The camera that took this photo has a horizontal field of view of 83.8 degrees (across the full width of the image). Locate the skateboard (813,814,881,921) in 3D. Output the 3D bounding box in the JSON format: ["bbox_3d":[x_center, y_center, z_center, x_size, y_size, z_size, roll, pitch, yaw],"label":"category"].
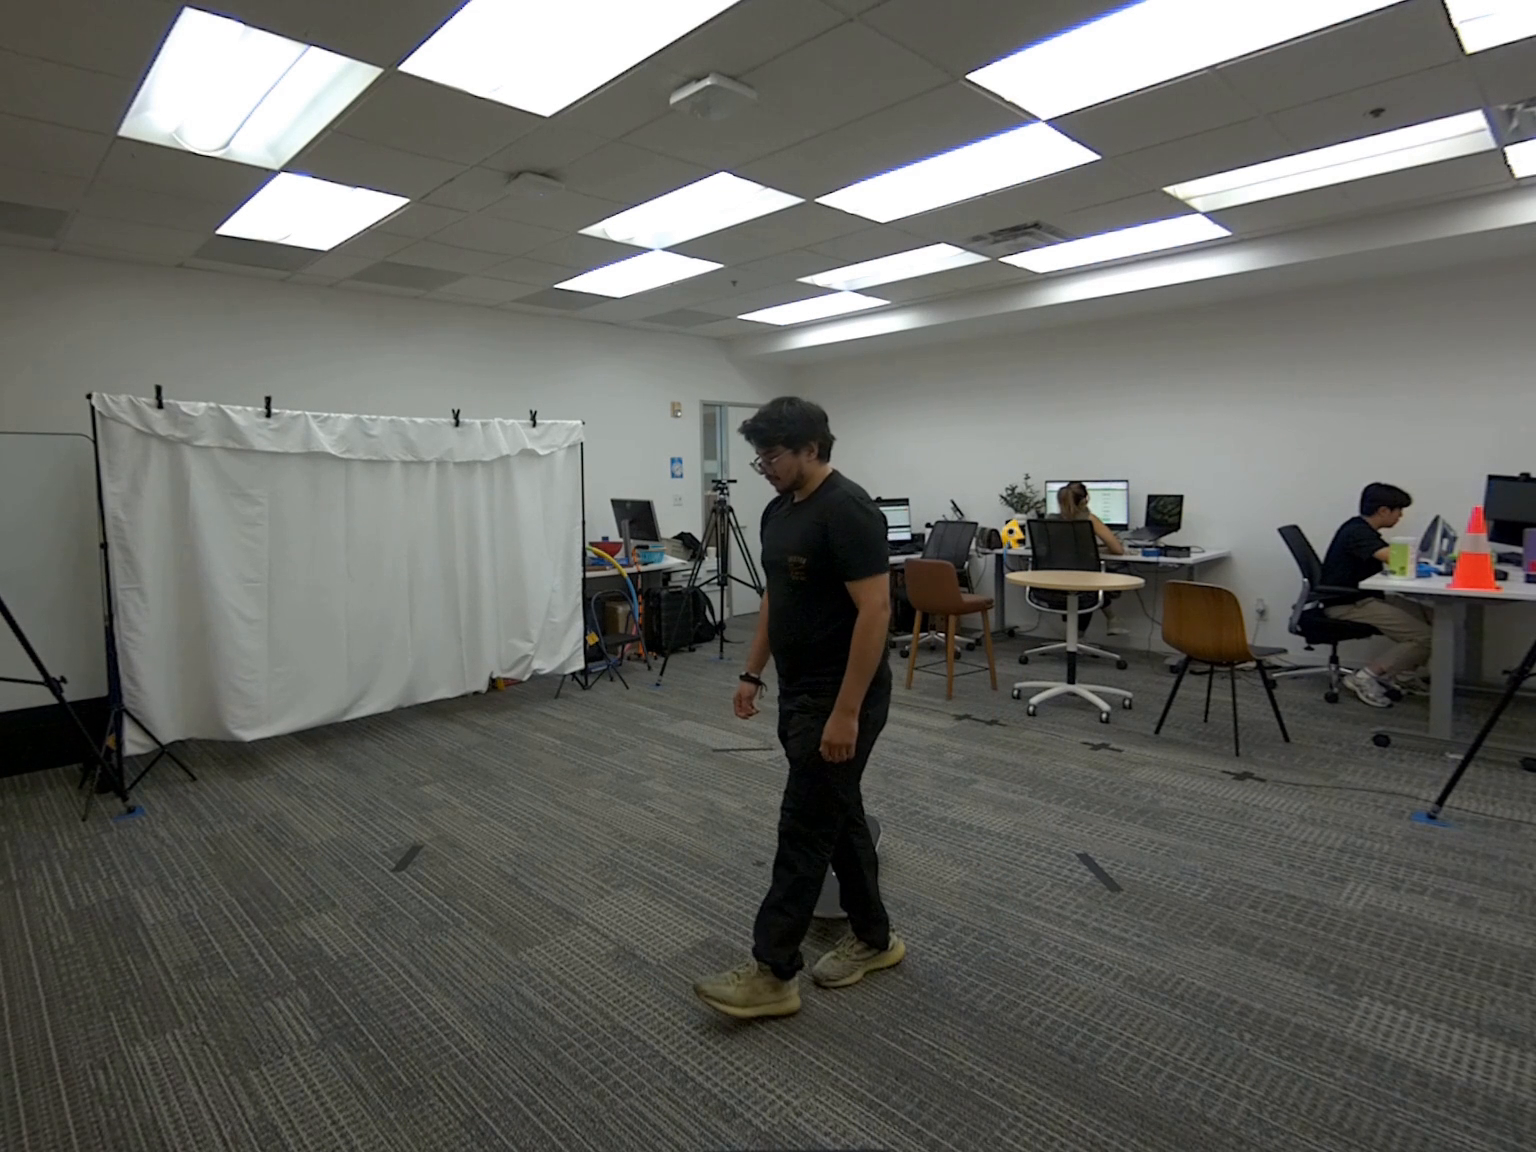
[{"bbox_3d":[0.263,1.010,2.914,0.196,0.110,0.778,0,7,13],"label":"skateboard"}]
